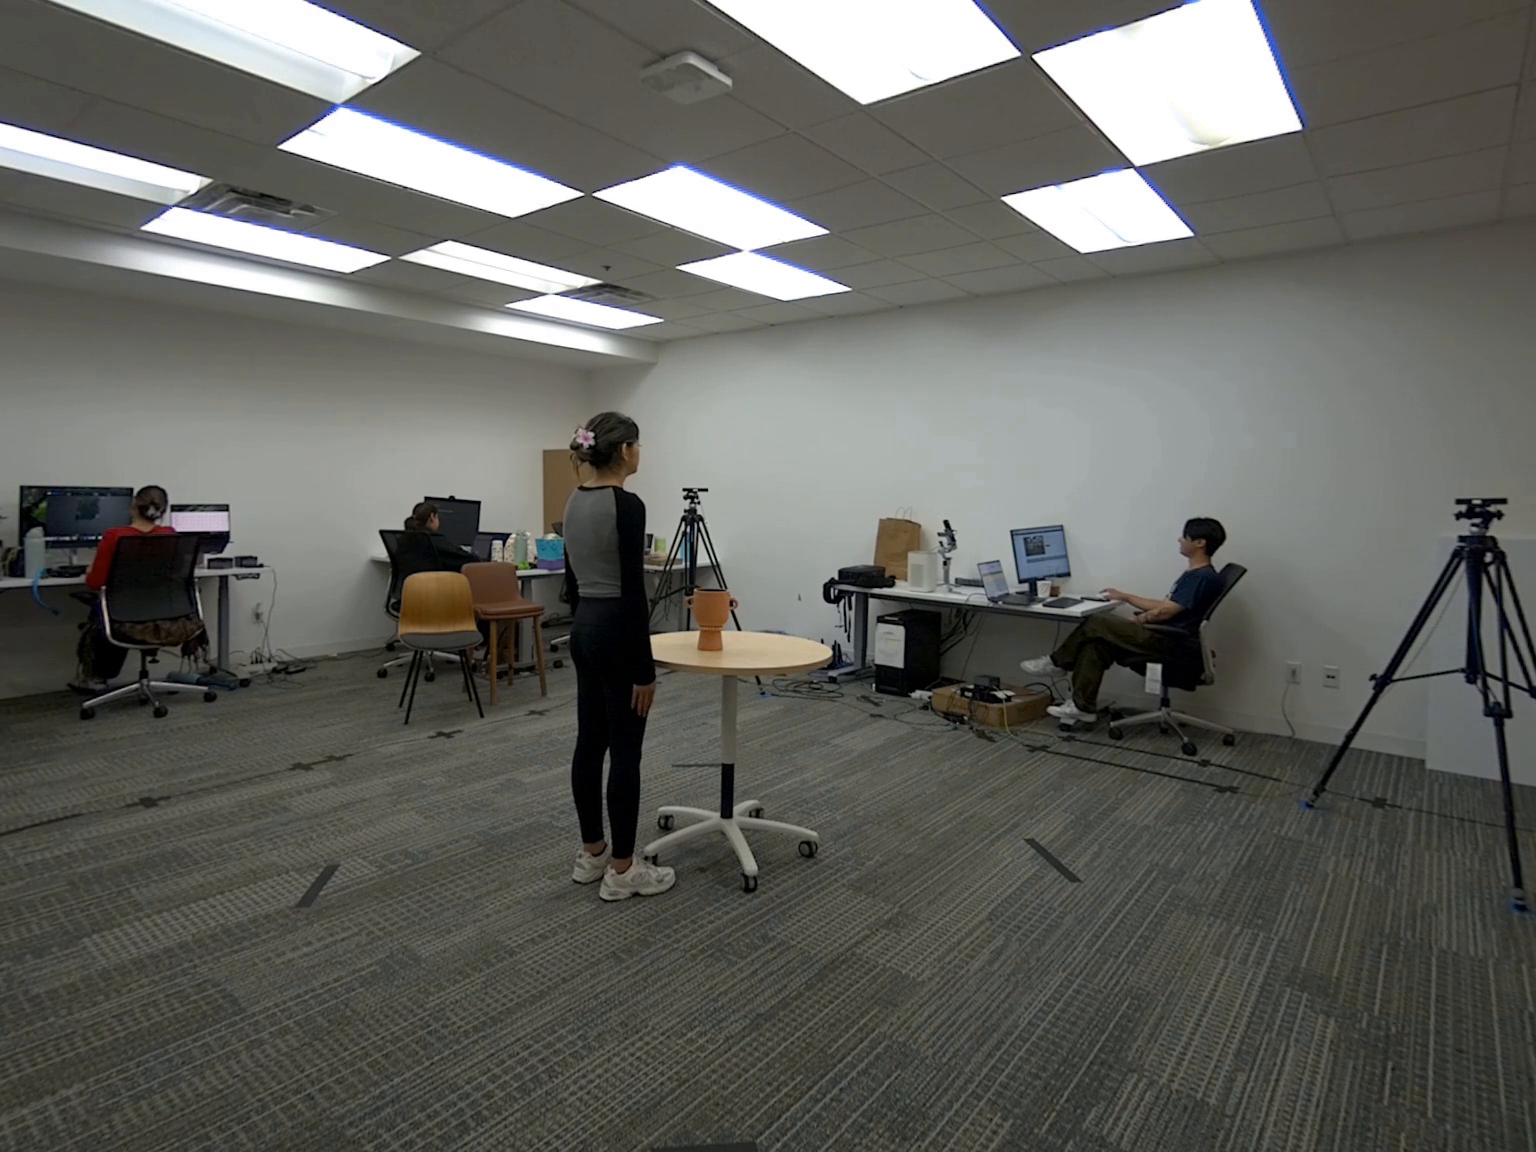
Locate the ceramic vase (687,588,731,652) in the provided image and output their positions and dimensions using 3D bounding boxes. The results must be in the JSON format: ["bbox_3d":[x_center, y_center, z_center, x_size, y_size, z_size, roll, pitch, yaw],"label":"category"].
[{"bbox_3d":[-0.224,0.165,3.171,0.164,0.219,0.131,4,5,35],"label":"ceramic vase"}]
